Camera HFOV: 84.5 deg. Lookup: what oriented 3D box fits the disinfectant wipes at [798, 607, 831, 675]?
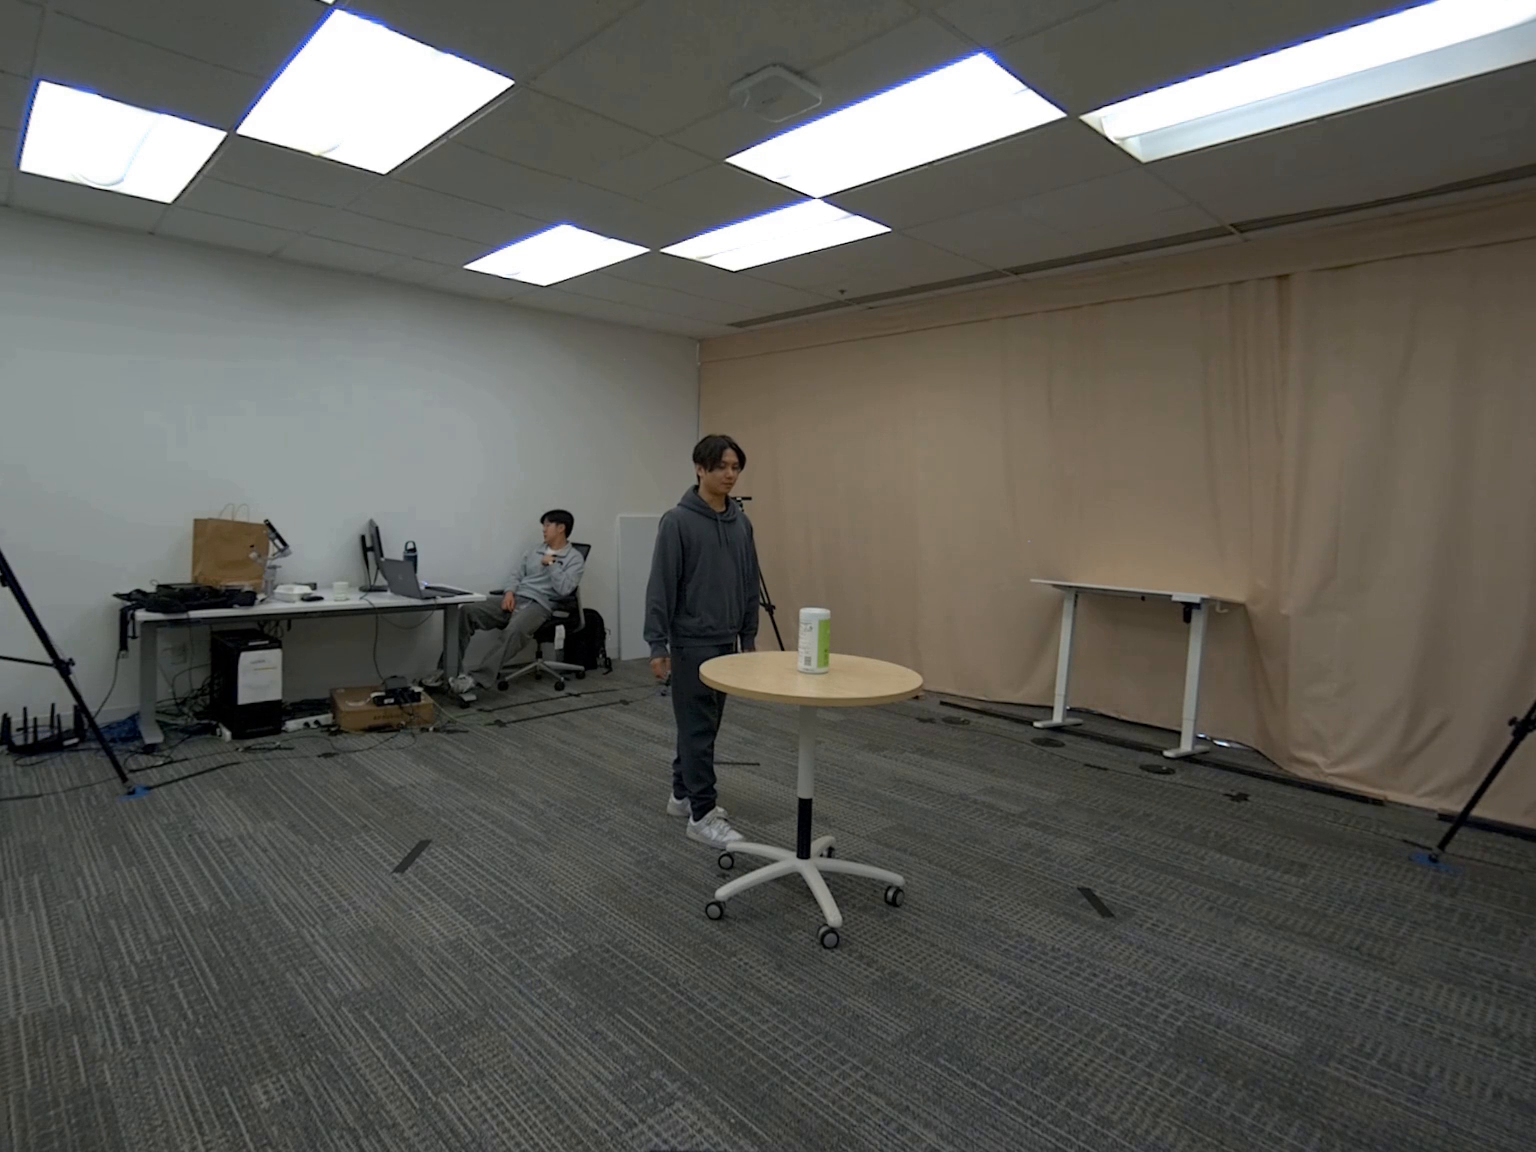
[{"bbox_3d":[0.156,0.225,2.921,0.118,0.217,0.118,2,3,-1],"label":"disinfectant wipes"}]
